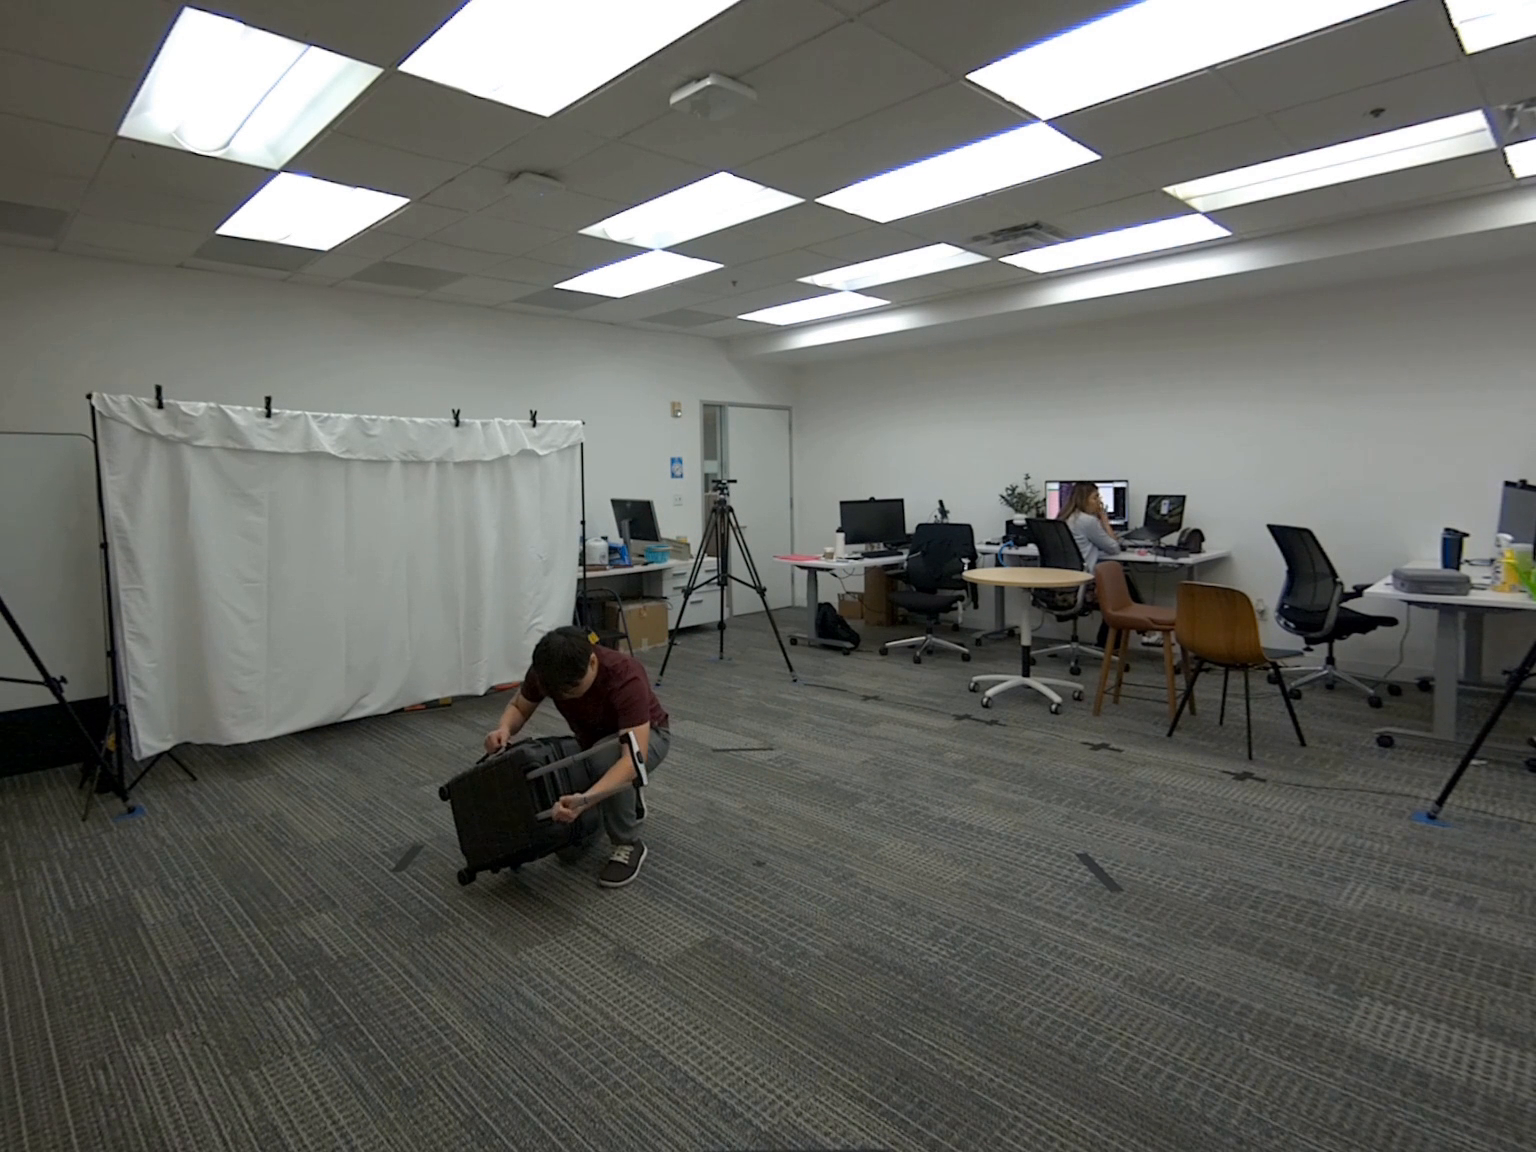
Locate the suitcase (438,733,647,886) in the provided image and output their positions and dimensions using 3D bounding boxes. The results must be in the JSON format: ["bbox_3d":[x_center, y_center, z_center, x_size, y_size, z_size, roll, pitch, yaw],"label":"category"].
[{"bbox_3d":[-0.697,0.708,2.818,0.989,0.391,0.249,-27,-18,31],"label":"suitcase"}]
